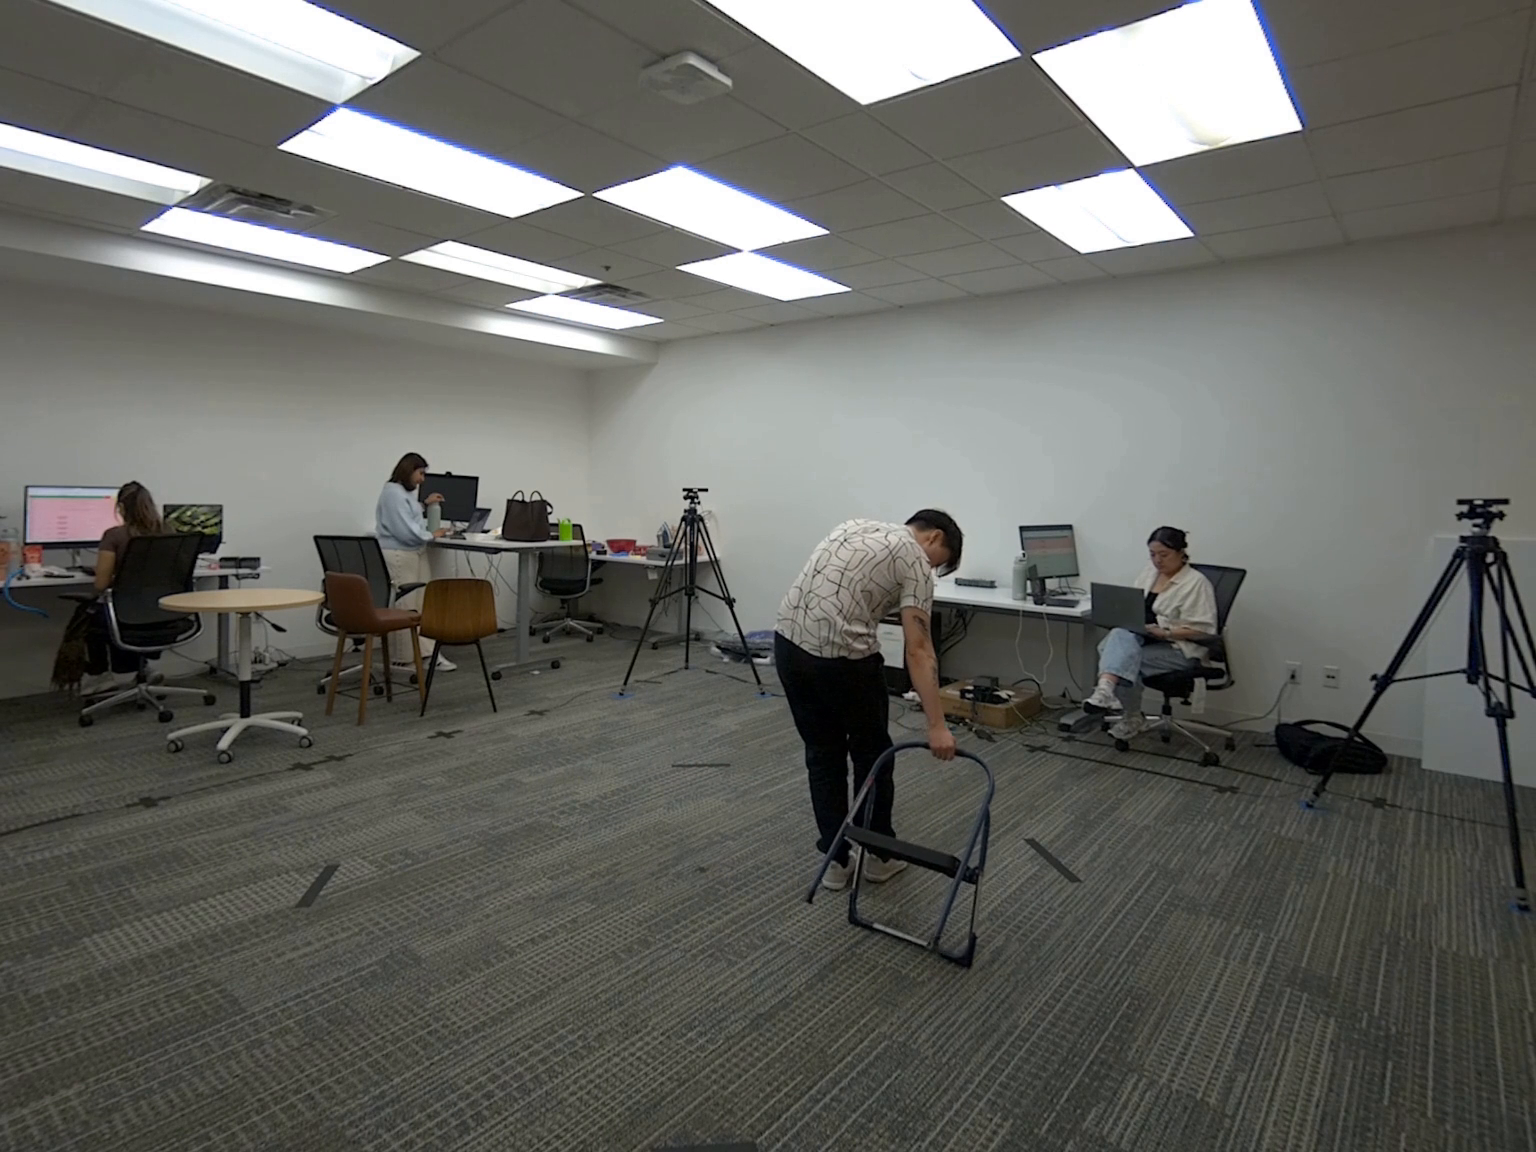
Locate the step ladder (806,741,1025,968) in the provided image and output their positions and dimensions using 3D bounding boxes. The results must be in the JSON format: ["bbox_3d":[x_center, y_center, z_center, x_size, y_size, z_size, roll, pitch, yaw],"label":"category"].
[{"bbox_3d":[0.449,0.791,2.626,0.445,0.612,0.334,4,-26,36],"label":"step ladder"}]
